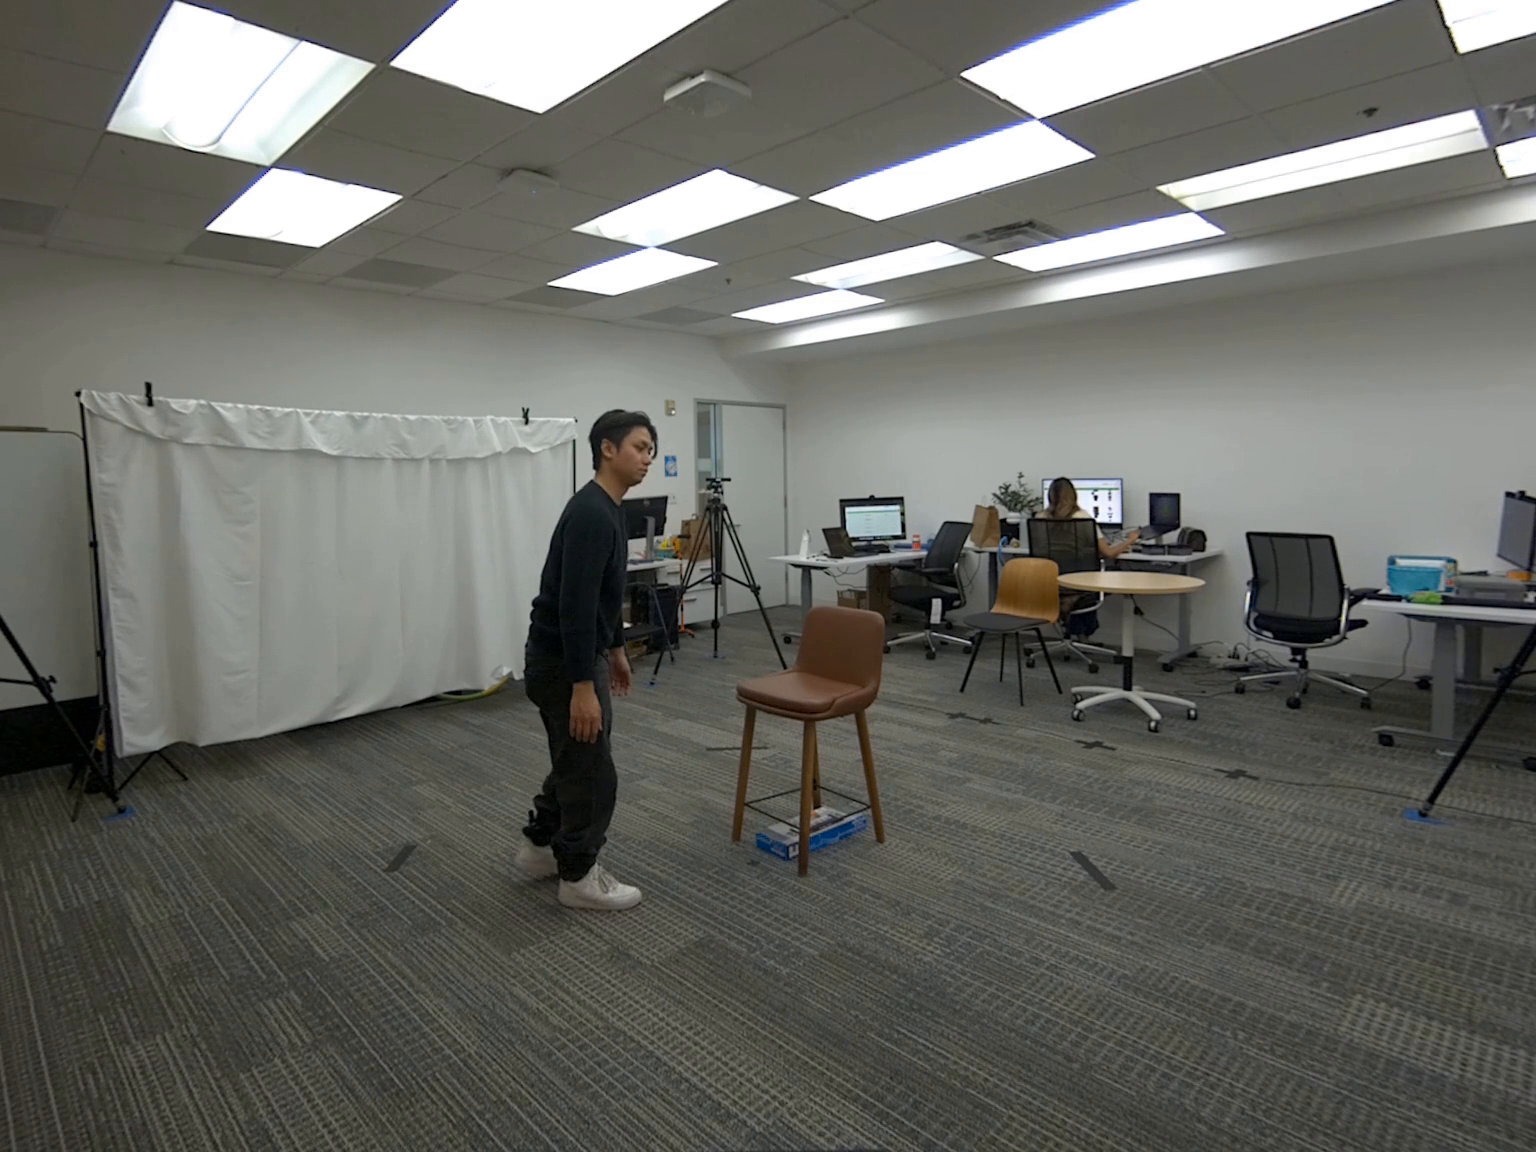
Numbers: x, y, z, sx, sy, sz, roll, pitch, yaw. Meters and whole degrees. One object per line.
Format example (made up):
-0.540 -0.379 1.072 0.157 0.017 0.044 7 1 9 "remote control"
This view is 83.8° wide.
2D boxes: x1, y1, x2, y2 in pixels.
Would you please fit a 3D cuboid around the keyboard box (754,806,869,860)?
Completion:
0.174 0.989 3.318 0.425 0.059 0.181 -7 8 -40 "keyboard box"
